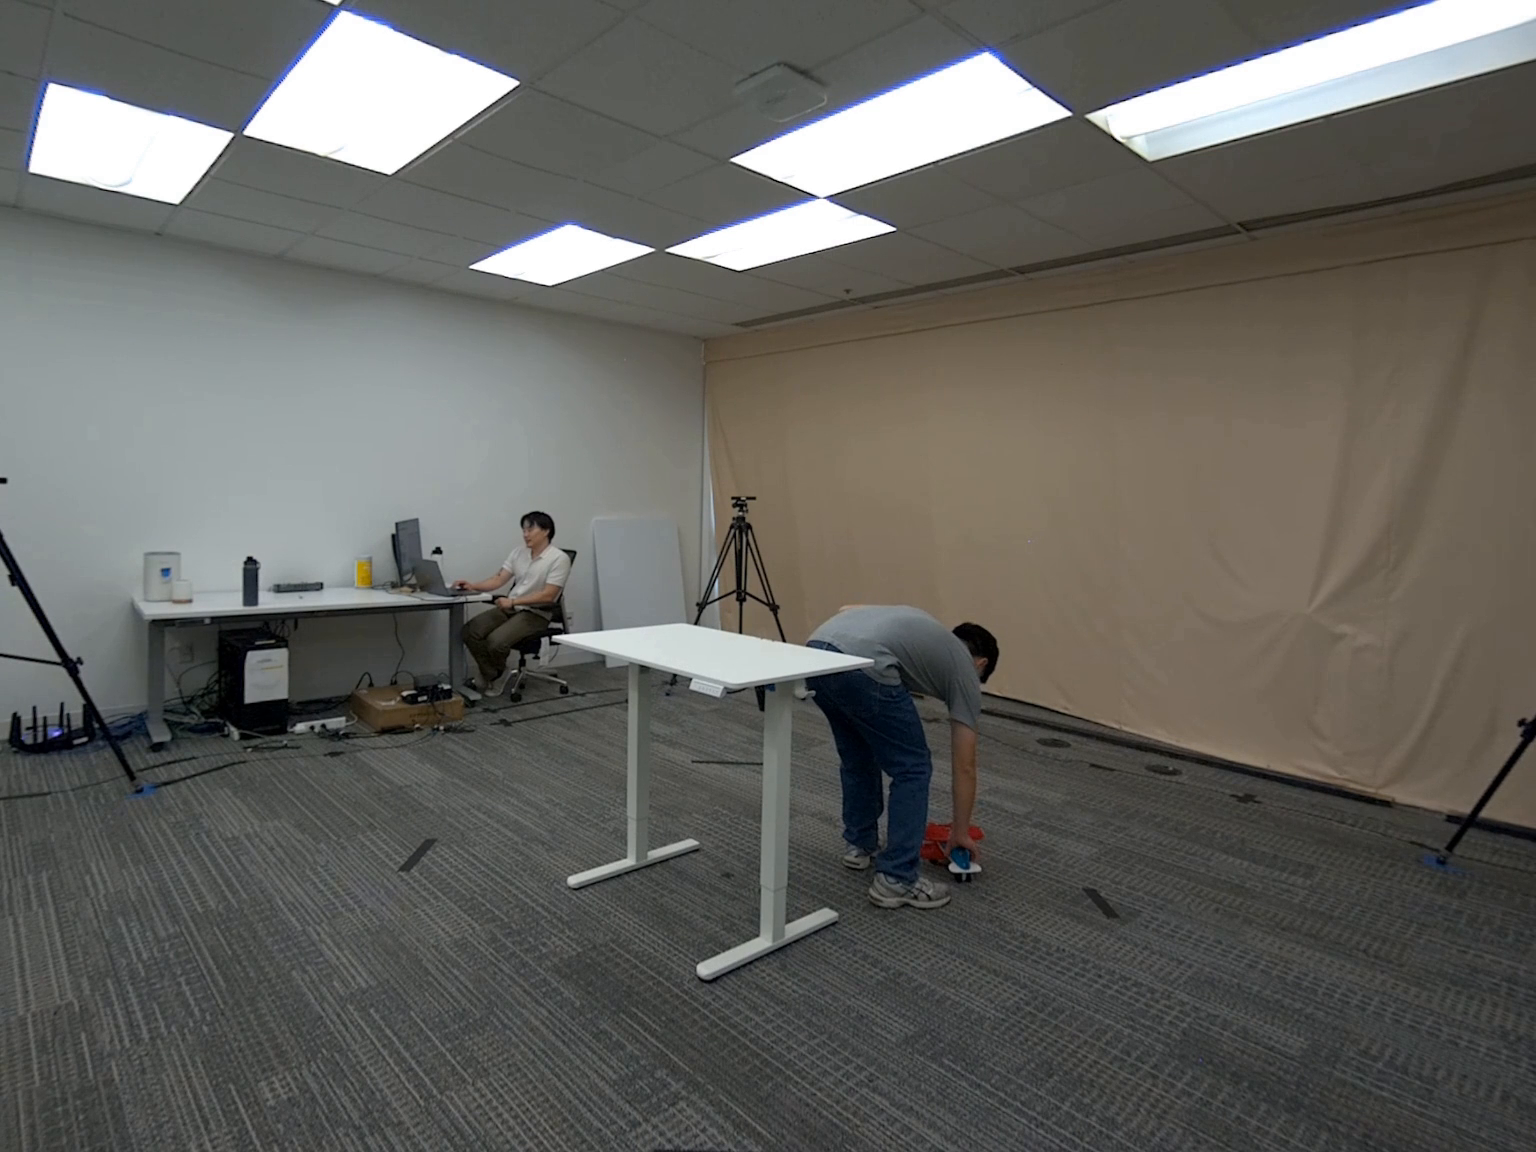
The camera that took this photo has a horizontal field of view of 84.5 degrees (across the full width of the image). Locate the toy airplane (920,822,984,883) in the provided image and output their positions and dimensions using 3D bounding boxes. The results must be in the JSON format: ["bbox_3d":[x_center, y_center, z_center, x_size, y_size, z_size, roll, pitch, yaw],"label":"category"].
[{"bbox_3d":[0.704,1.046,3.205,0.245,0.156,0.265,-1,3,-37],"label":"toy airplane"}]
